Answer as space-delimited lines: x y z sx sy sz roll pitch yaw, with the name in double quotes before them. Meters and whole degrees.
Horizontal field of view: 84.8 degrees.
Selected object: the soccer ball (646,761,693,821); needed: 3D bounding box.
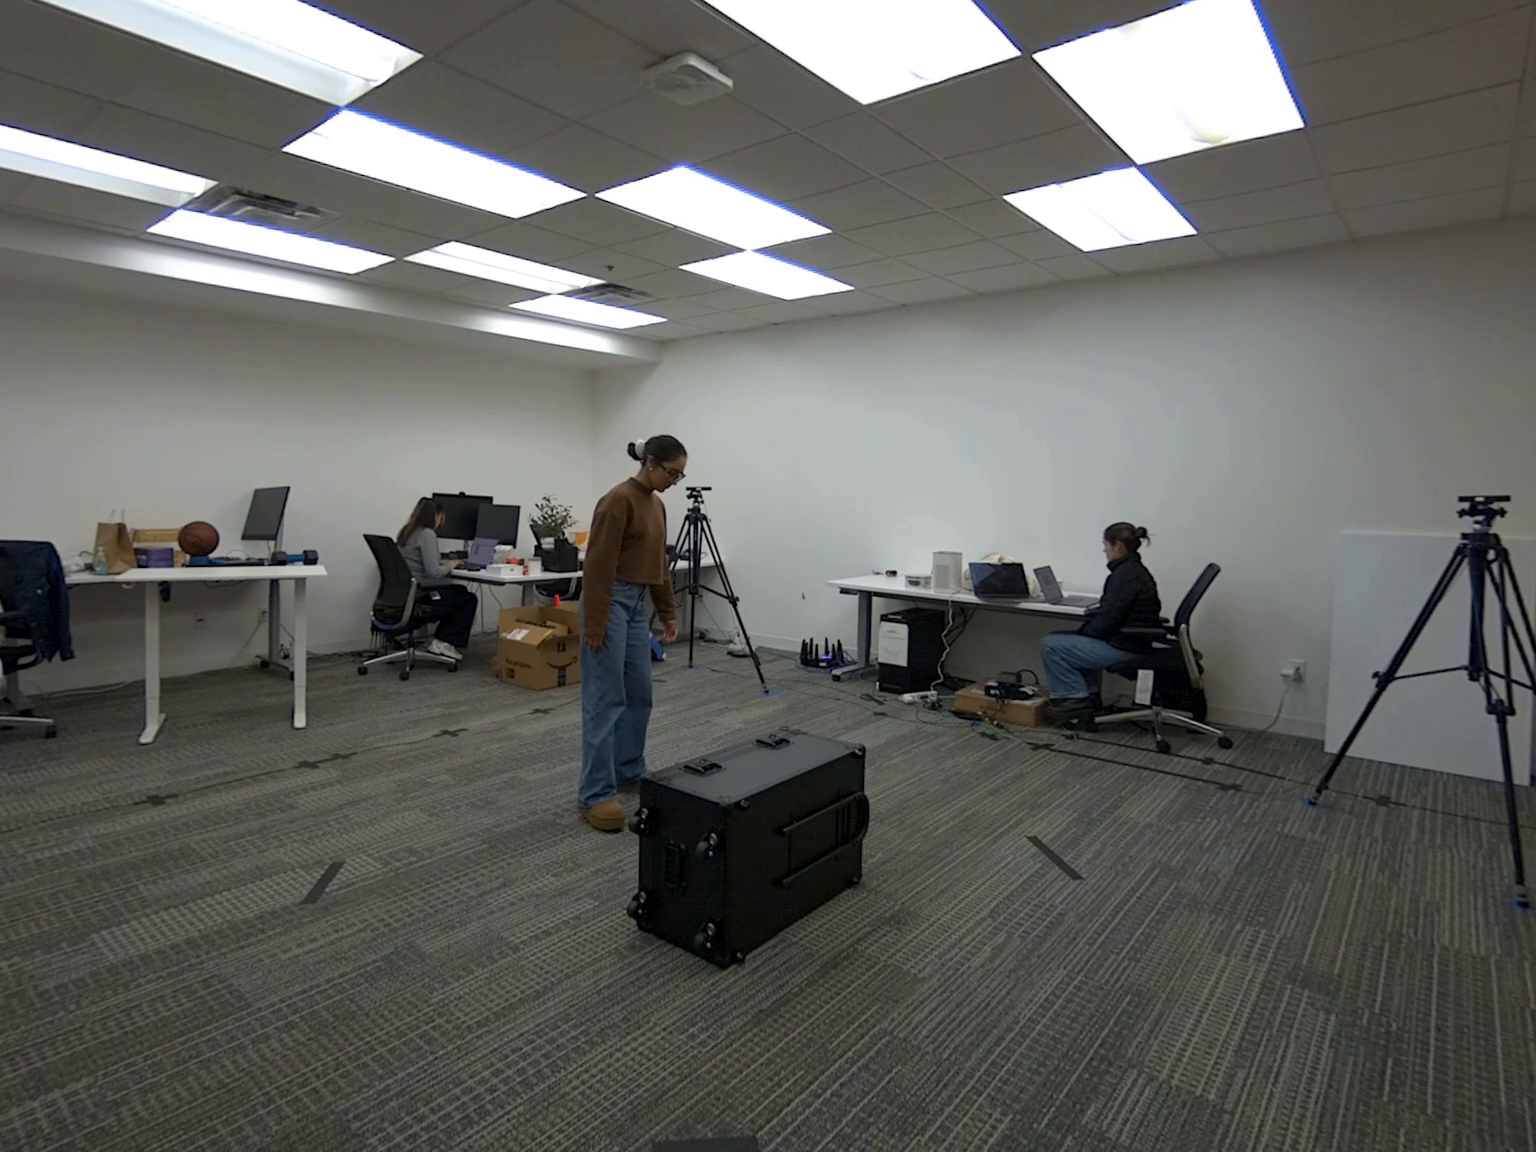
"soccer ball" -0.422 0.916 3.609 0.187 0.187 0.188 1 4 -2
